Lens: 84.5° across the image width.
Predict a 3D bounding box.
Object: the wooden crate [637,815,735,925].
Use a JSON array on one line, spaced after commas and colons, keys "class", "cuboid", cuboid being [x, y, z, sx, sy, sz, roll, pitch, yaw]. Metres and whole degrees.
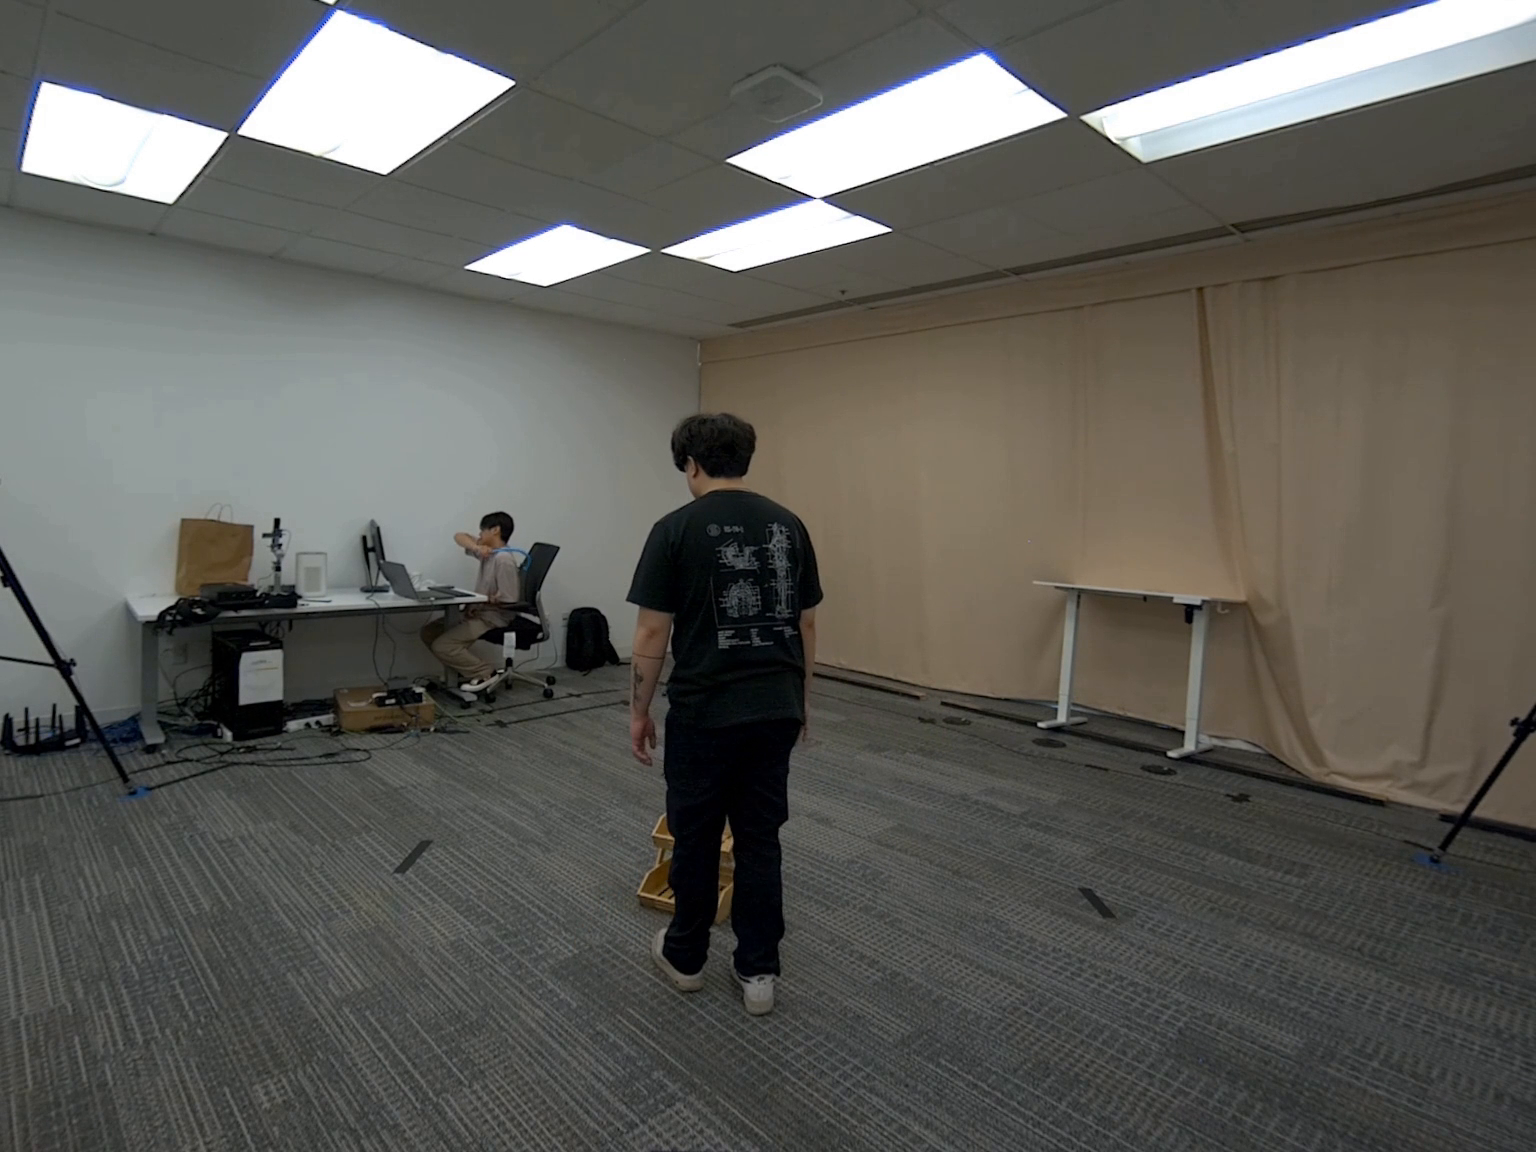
[{"class": "wooden crate", "cuboid": [-0.254, 0.998, 2.910, 0.331, 0.272, 0.297, 4, 5, 24]}]
